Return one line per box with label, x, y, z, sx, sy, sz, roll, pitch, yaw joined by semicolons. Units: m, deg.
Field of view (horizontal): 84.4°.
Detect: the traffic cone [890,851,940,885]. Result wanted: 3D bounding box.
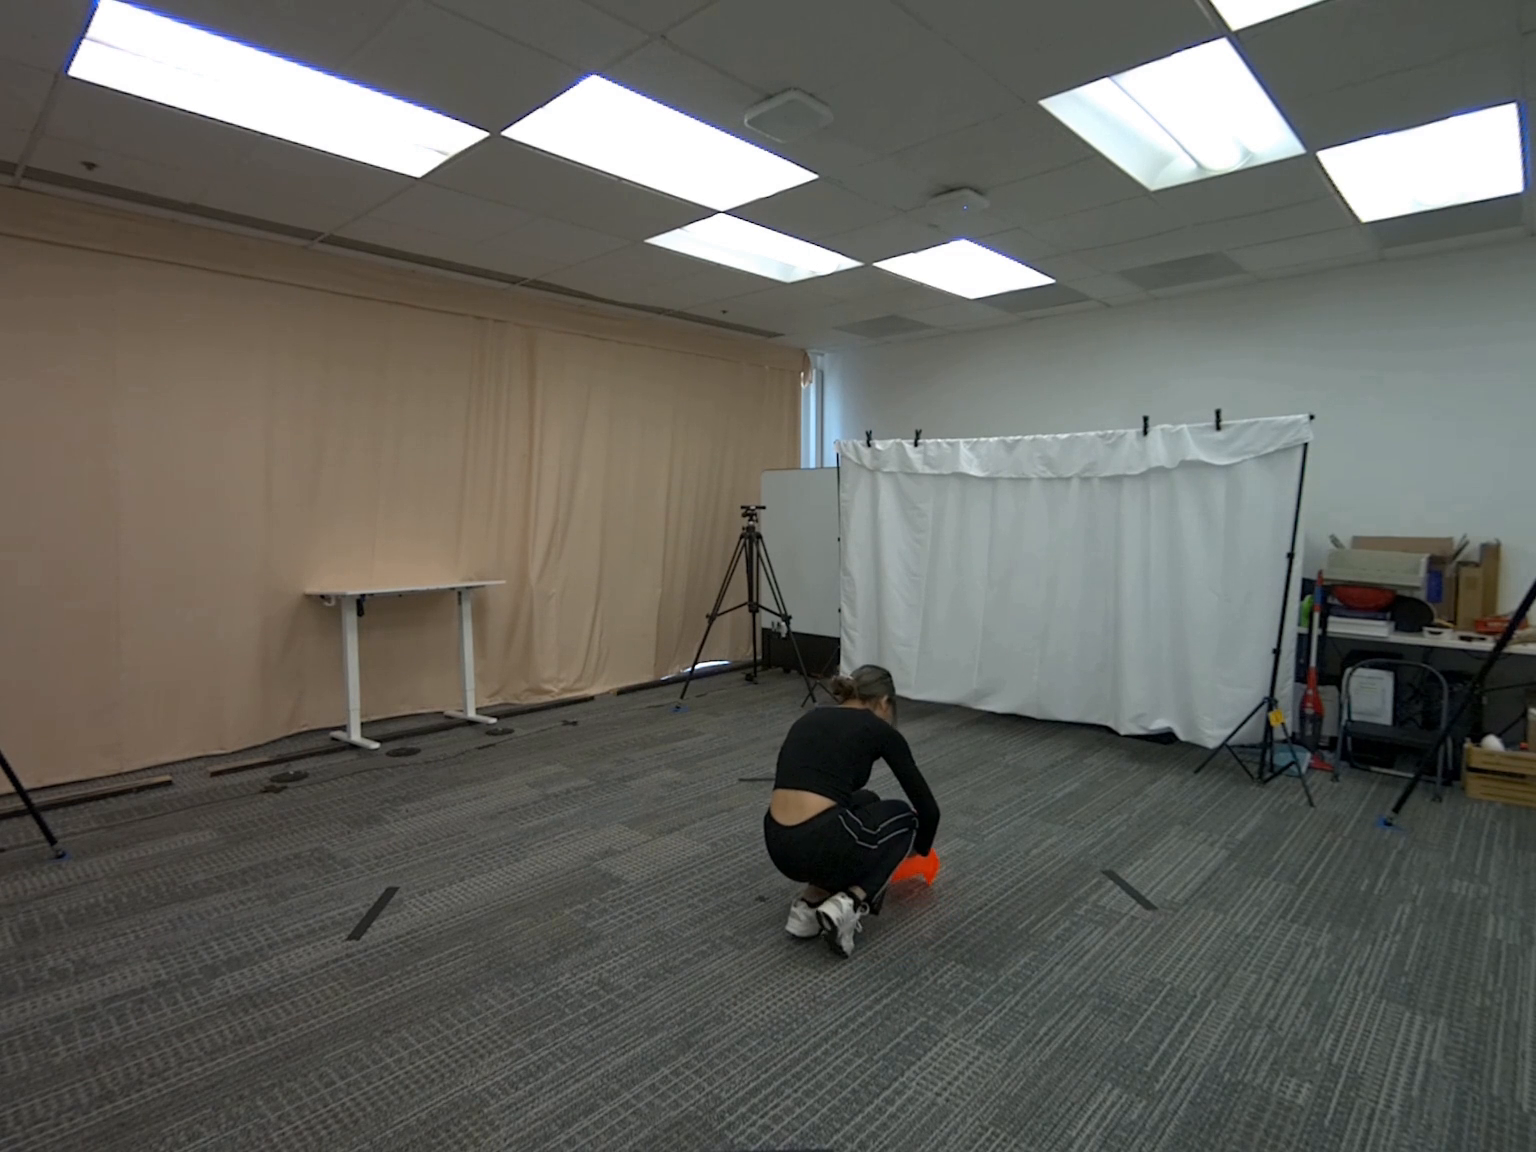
traffic cone;0.393;1.073;3.033;0.379;0.200;0.210;-23;48;-17
